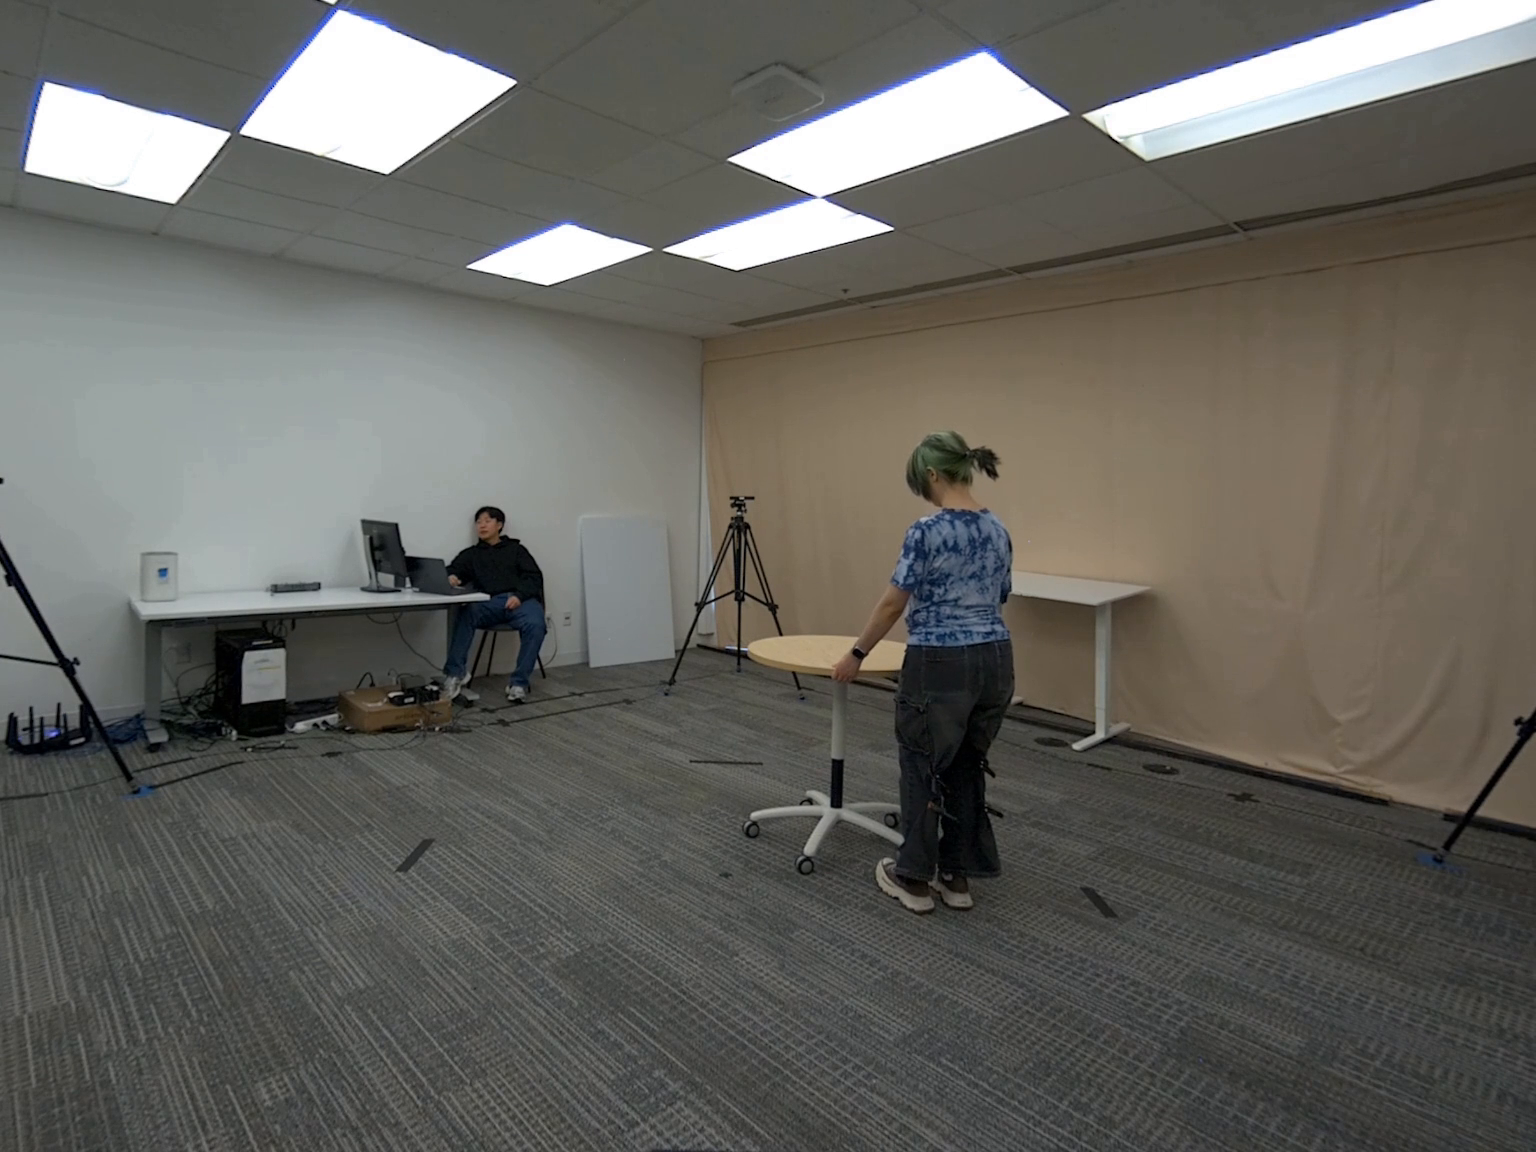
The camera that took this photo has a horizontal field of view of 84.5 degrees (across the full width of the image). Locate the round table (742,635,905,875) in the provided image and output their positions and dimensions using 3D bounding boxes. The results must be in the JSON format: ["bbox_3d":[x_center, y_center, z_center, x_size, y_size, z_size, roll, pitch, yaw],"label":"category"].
[{"bbox_3d":[0.271,0.698,3.427,0.763,0.792,0.766,2,4,-2],"label":"round table"}]
